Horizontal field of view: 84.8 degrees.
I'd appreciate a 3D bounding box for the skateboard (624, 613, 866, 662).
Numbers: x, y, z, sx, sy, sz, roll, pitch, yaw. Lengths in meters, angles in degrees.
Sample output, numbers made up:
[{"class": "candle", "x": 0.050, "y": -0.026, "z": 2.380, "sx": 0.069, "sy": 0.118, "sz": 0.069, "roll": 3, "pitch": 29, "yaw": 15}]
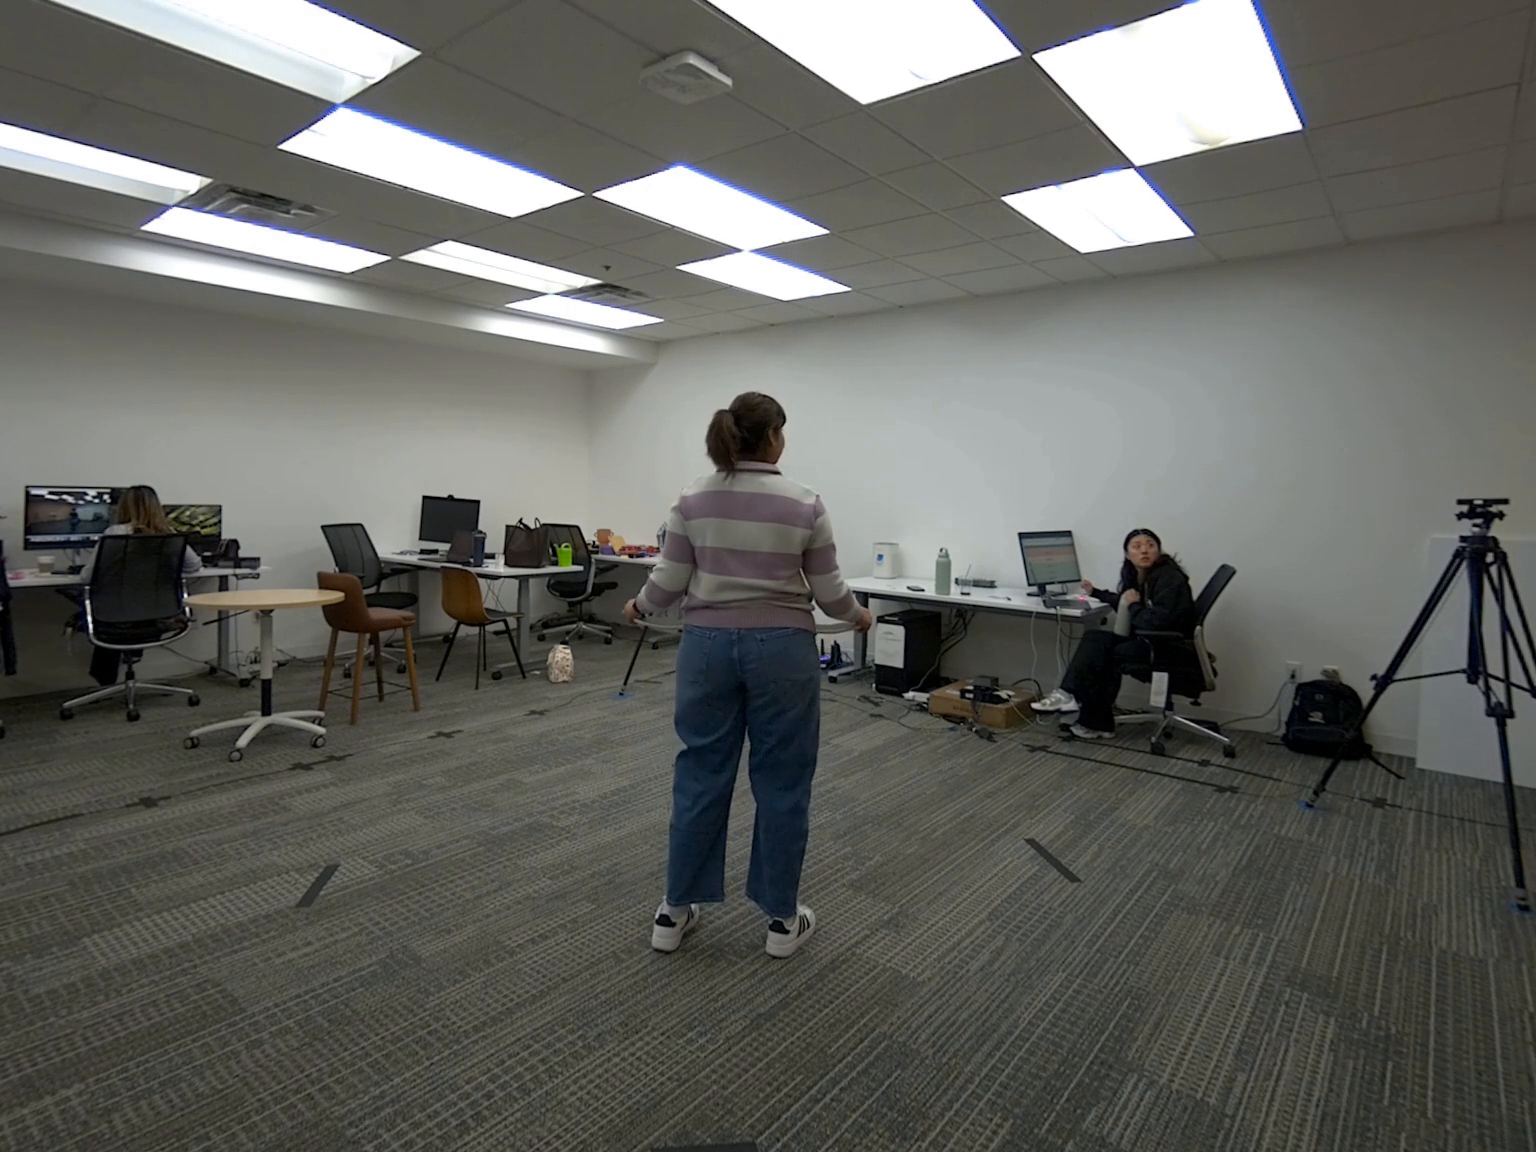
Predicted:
[{"class": "skateboard", "x": -0.080, "y": 0.201, "z": 2.848, "sx": 0.789, "sy": 0.110, "sz": 0.192, "roll": 3, "pitch": -1, "yaw": 3}]
